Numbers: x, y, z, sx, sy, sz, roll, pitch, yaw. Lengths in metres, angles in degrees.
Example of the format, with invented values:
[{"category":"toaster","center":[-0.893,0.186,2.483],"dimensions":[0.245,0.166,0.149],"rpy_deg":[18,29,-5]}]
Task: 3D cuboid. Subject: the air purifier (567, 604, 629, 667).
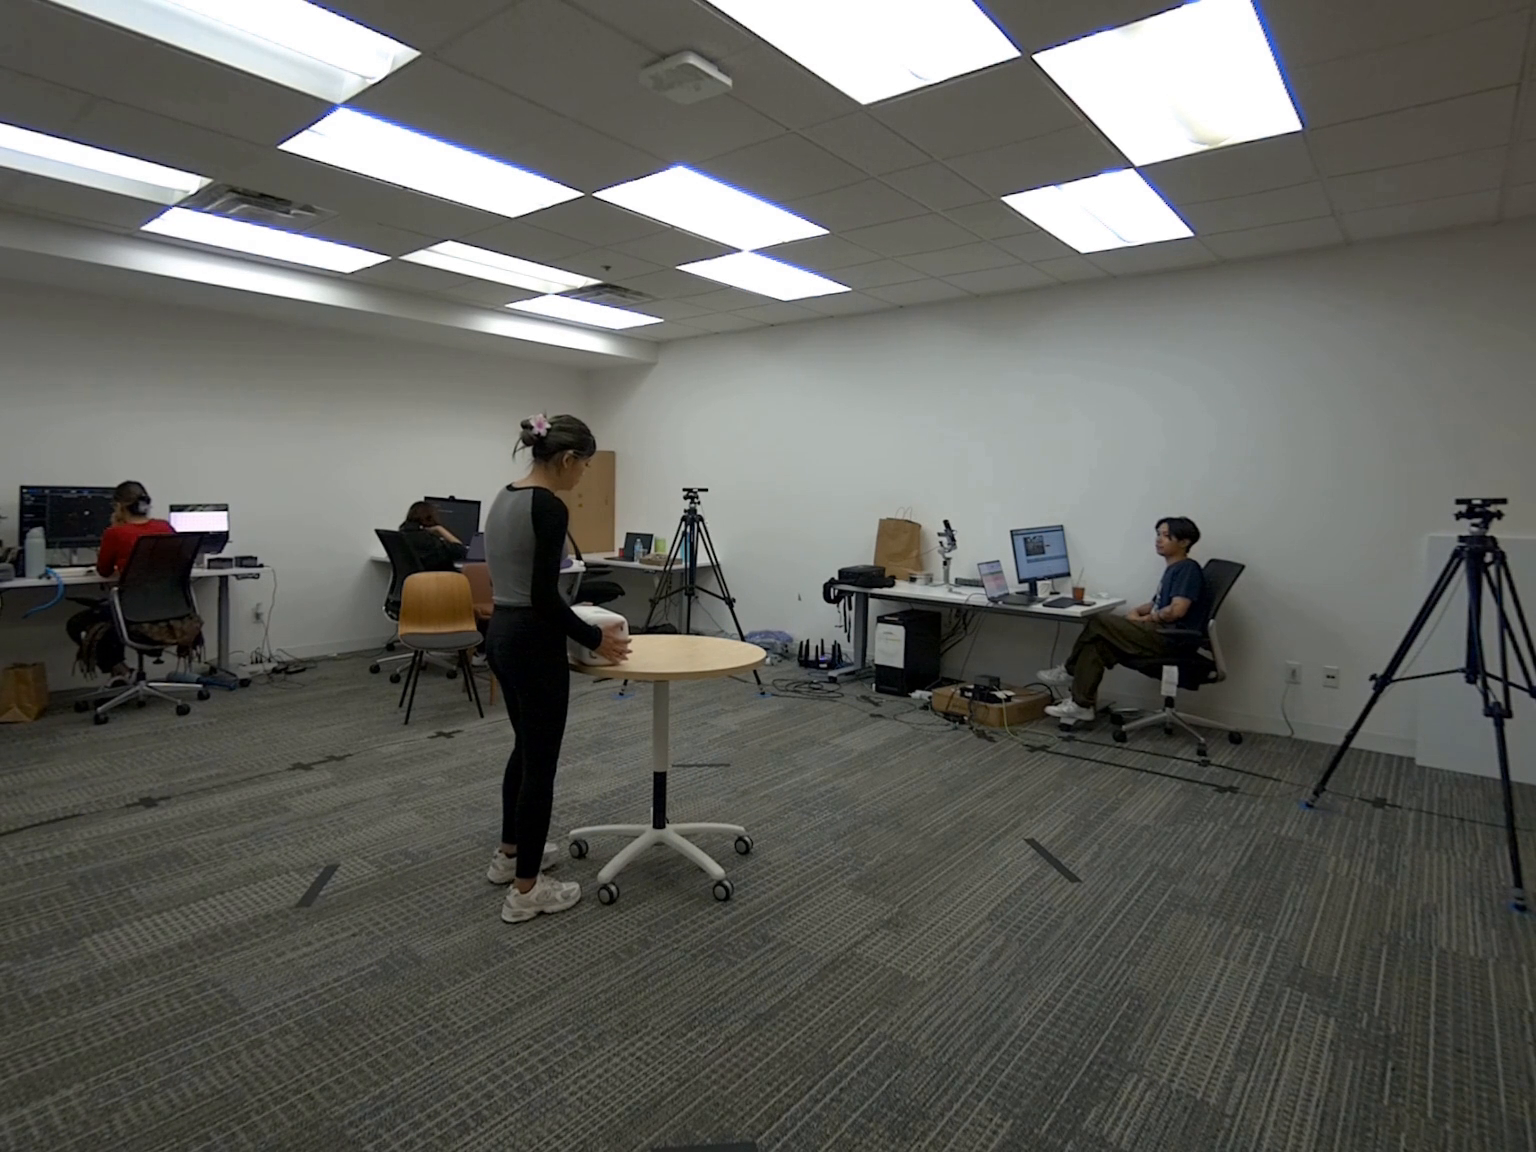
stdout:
[{"category":"air purifier","center":[-0.606,0.203,2.919],"dimensions":[0.167,0.171,0.273],"rpy_deg":[0,4,-28]}]
